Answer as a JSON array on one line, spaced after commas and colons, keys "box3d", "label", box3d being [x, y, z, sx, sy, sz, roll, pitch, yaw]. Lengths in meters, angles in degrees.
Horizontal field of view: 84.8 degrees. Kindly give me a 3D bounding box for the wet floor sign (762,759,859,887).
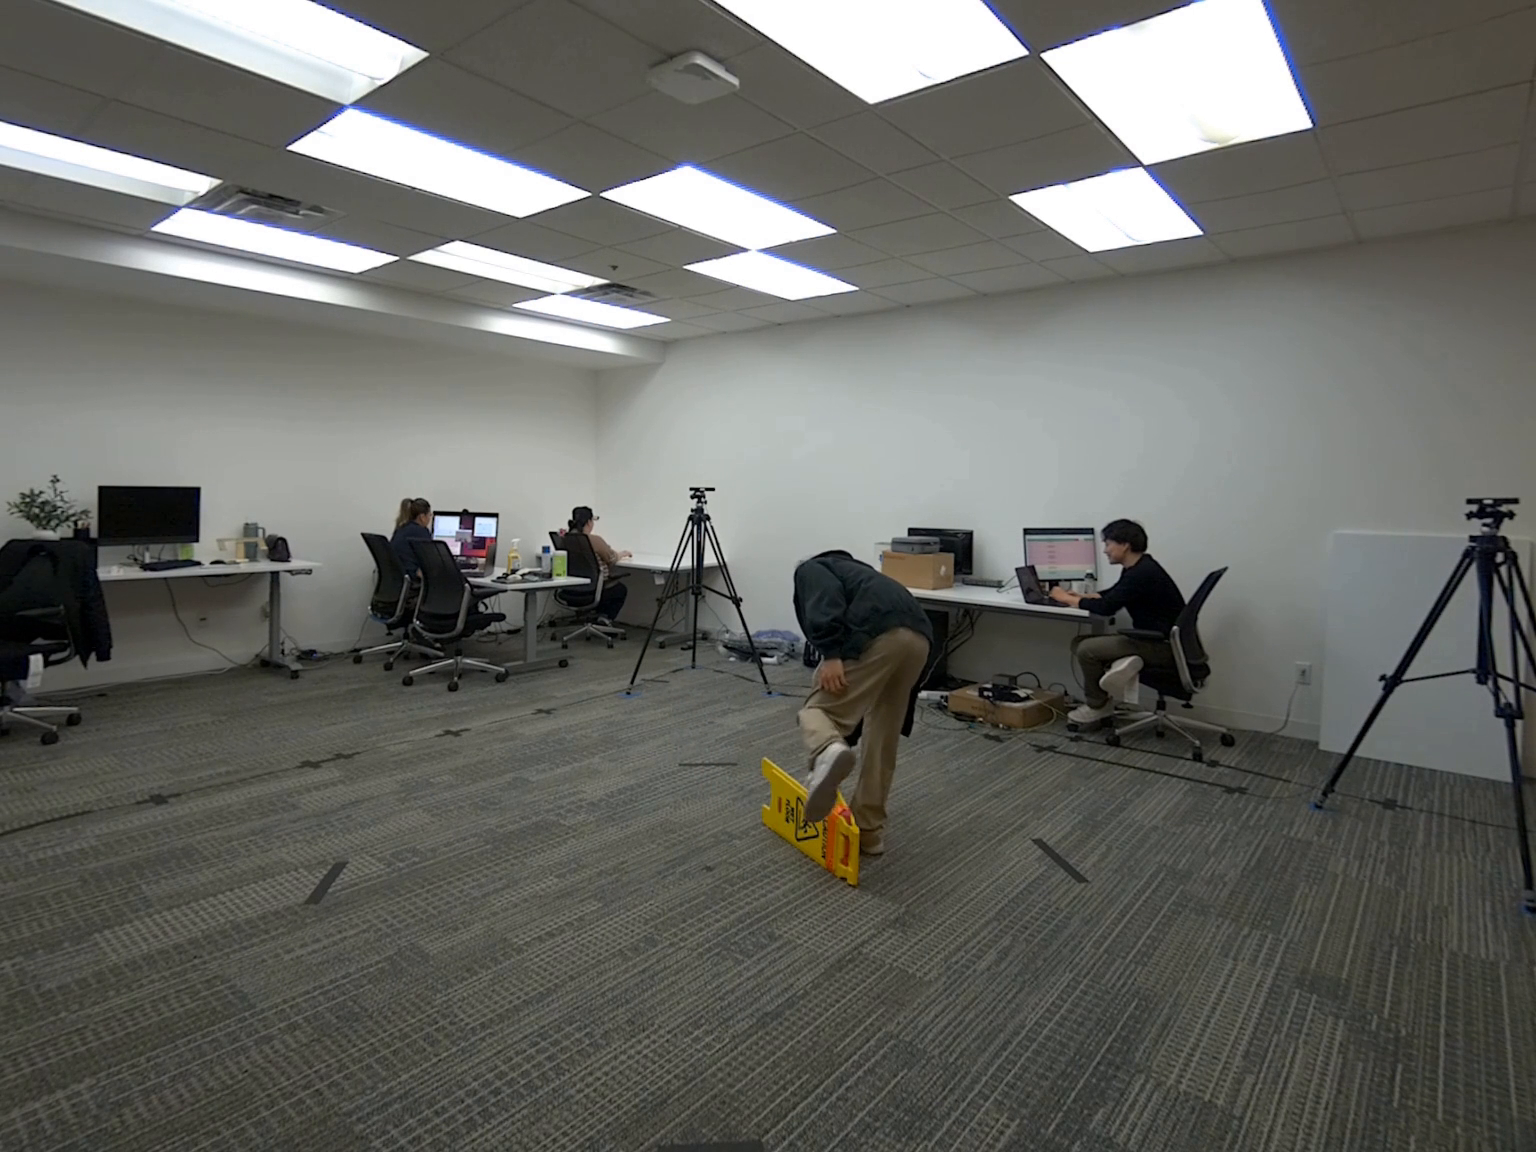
[{"box3d": [0.200, 0.931, 3.277, 0.284, 0.280, 0.662, -2, 9, -19], "label": "wet floor sign"}]
